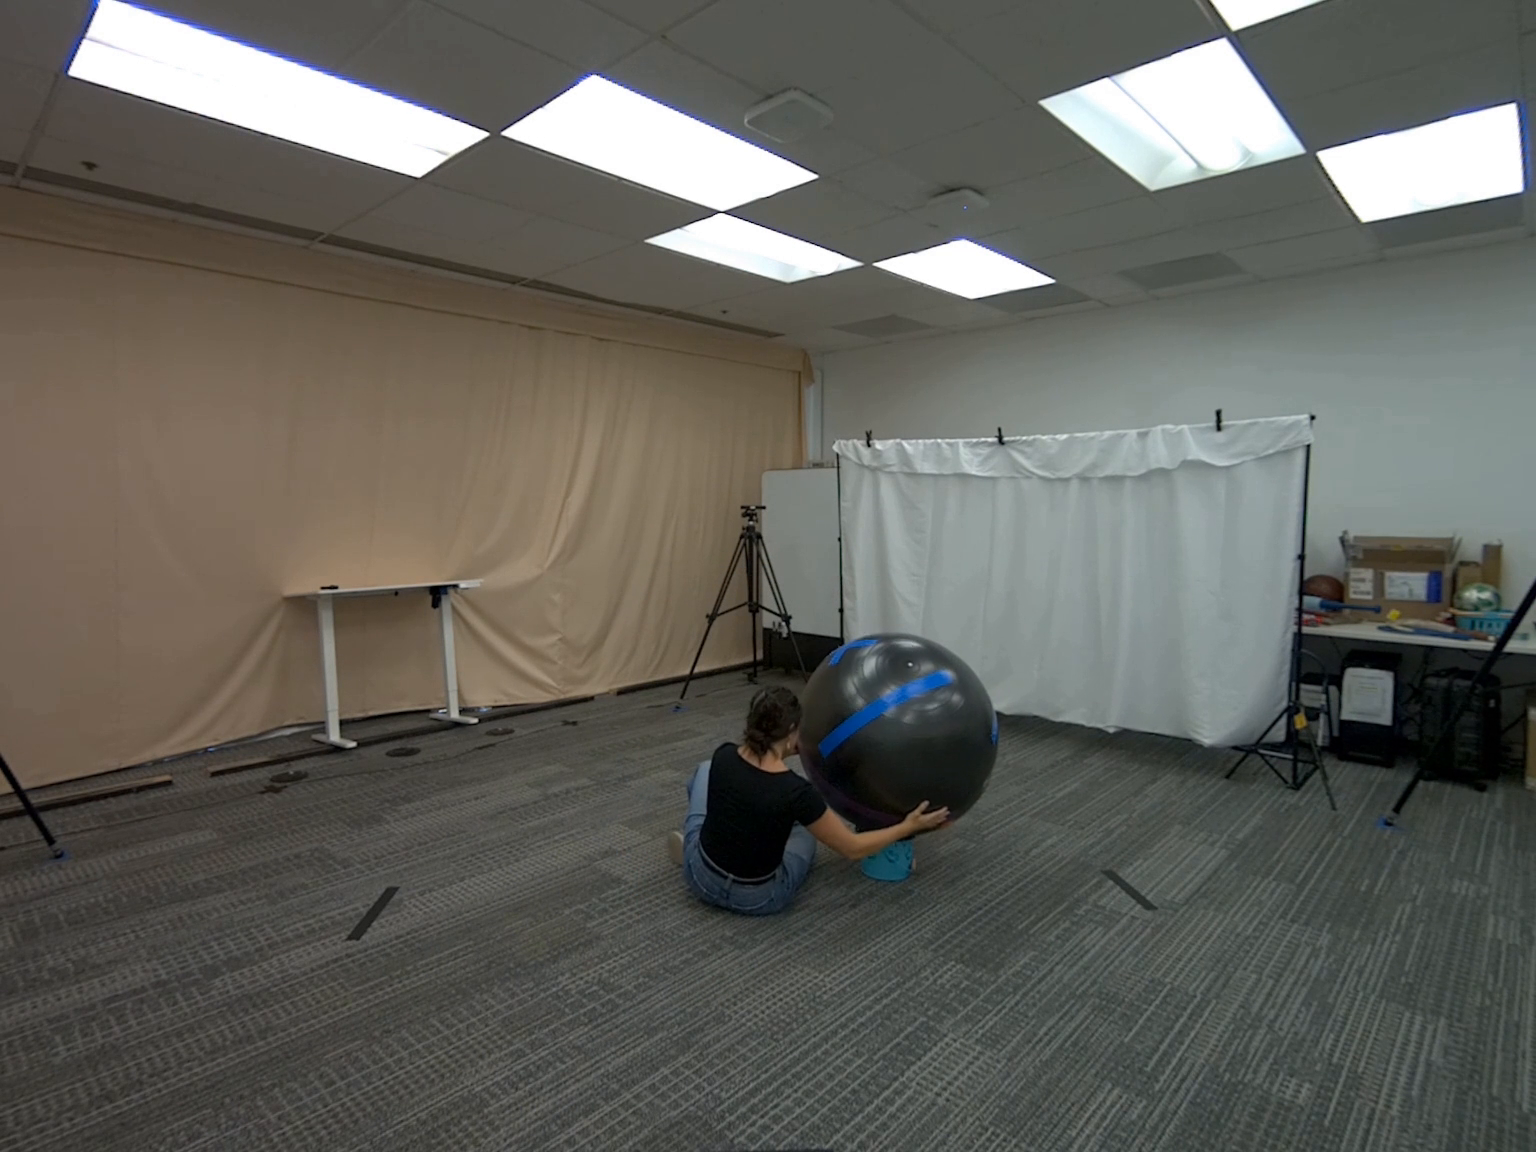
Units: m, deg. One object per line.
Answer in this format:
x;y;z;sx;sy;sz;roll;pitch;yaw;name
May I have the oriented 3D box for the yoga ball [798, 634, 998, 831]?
0.500;0.603;3.241;0.757;0.756;0.760;0;4;-2;yoga ball
